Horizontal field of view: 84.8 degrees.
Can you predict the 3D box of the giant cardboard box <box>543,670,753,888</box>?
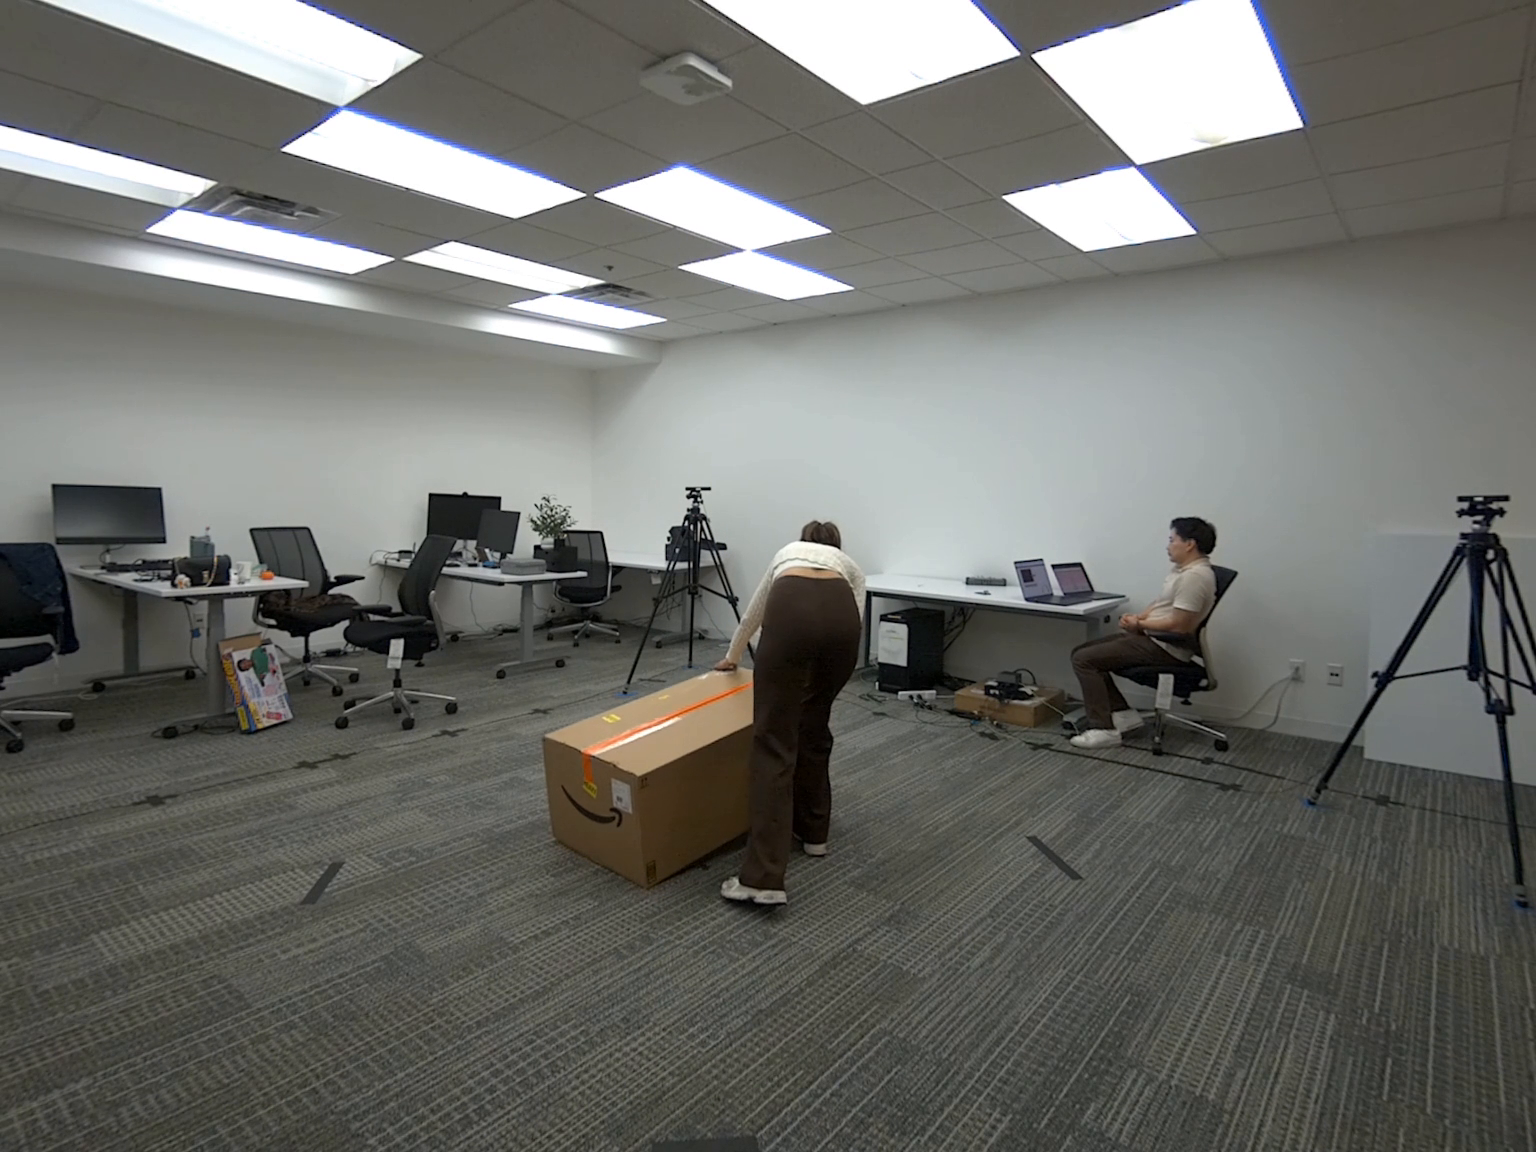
[{"bbox_3d":[-0.321,0.747,3.446,0.598,0.421,1.002,7,16,42],"label":"giant cardboard box"}]
